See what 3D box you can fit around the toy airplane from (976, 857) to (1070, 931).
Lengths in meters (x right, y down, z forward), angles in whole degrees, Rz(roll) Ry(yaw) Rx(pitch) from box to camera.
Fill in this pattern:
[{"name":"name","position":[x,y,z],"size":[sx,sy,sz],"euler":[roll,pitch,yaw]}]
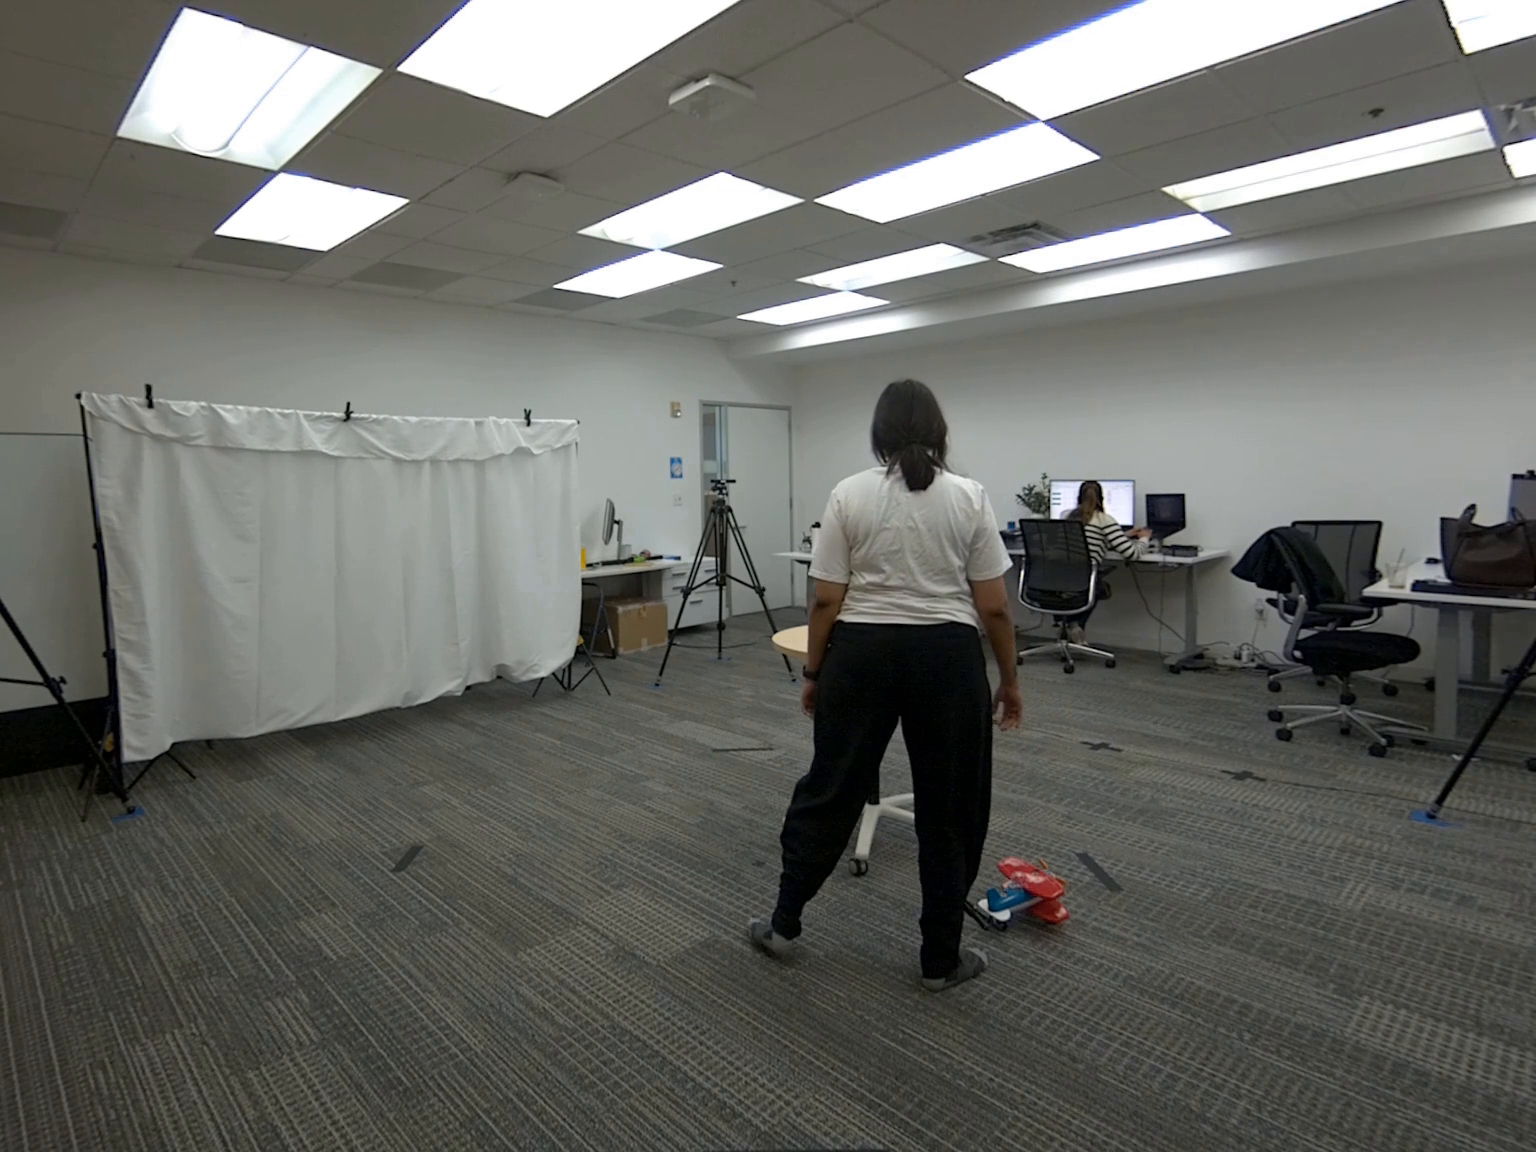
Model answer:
[{"name":"toy airplane","position":[0.813,1.010,2.651],"size":[0.259,0.156,0.252],"euler":[4,7,40]}]
